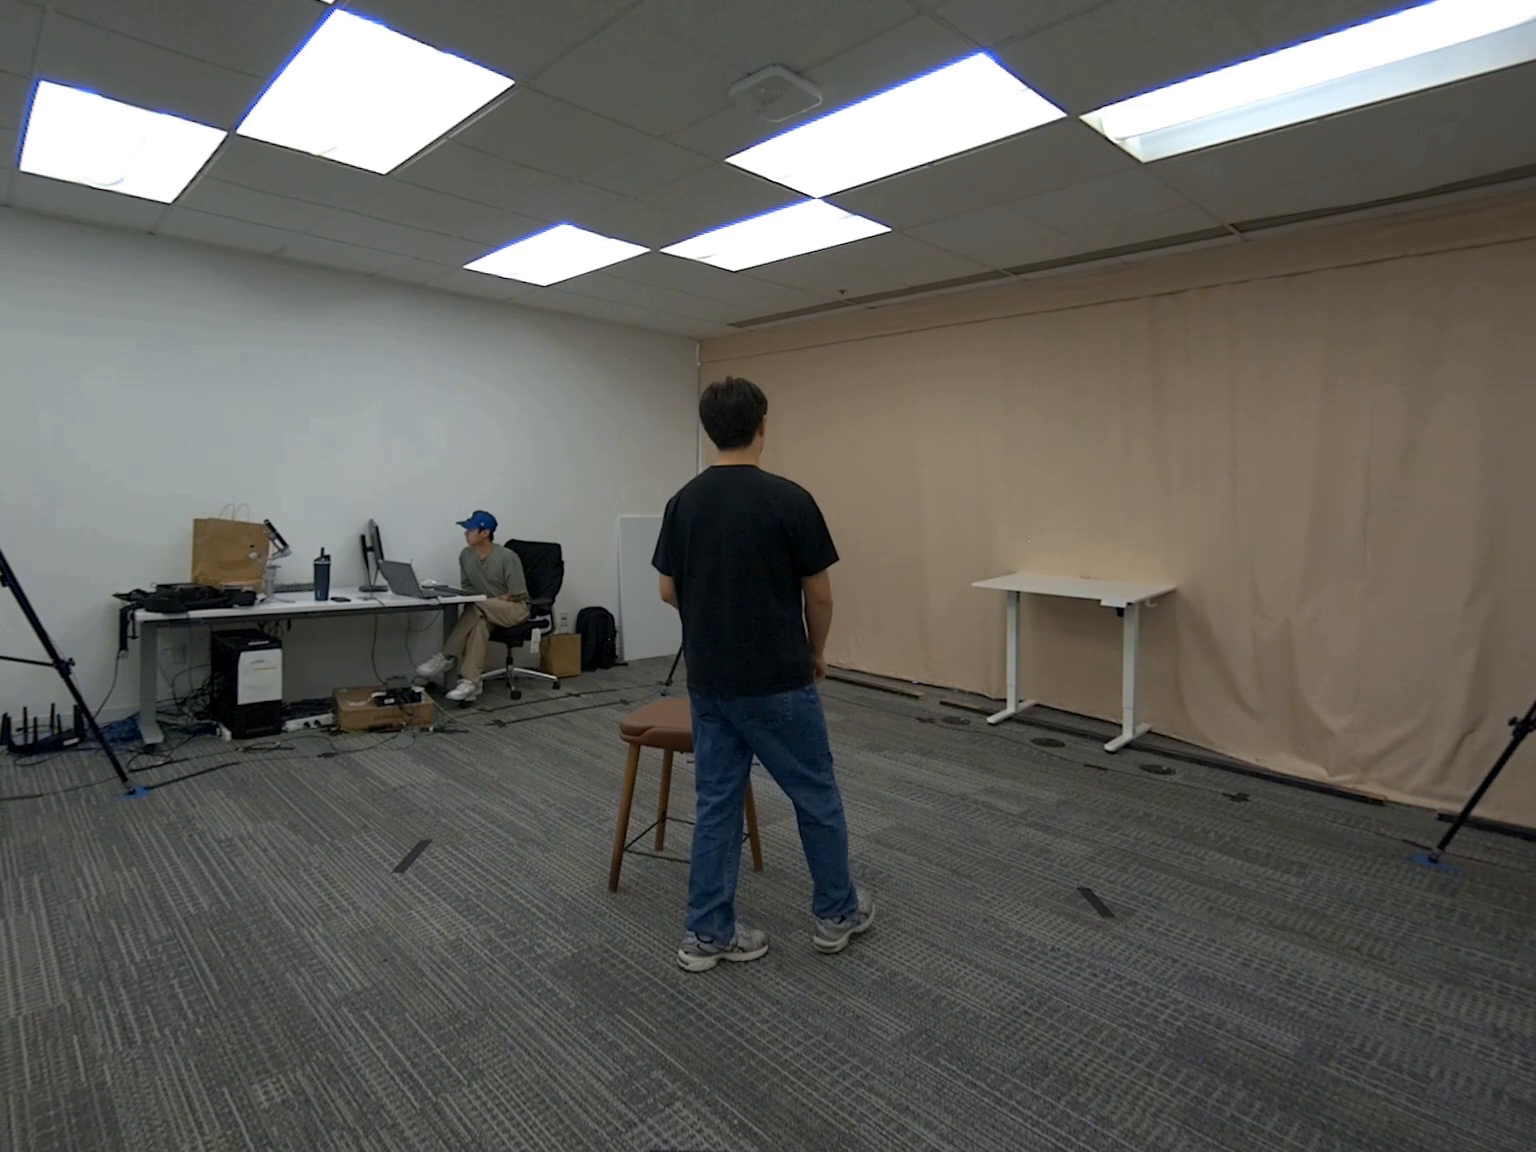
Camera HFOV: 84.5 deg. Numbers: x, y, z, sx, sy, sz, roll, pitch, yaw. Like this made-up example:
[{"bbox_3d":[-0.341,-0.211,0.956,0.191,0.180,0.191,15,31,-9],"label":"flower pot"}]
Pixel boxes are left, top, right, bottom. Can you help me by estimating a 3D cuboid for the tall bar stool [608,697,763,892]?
[{"bbox_3d":[-0.272,0.676,3.041,0.475,0.887,0.450,4,4,20],"label":"tall bar stool"}]
